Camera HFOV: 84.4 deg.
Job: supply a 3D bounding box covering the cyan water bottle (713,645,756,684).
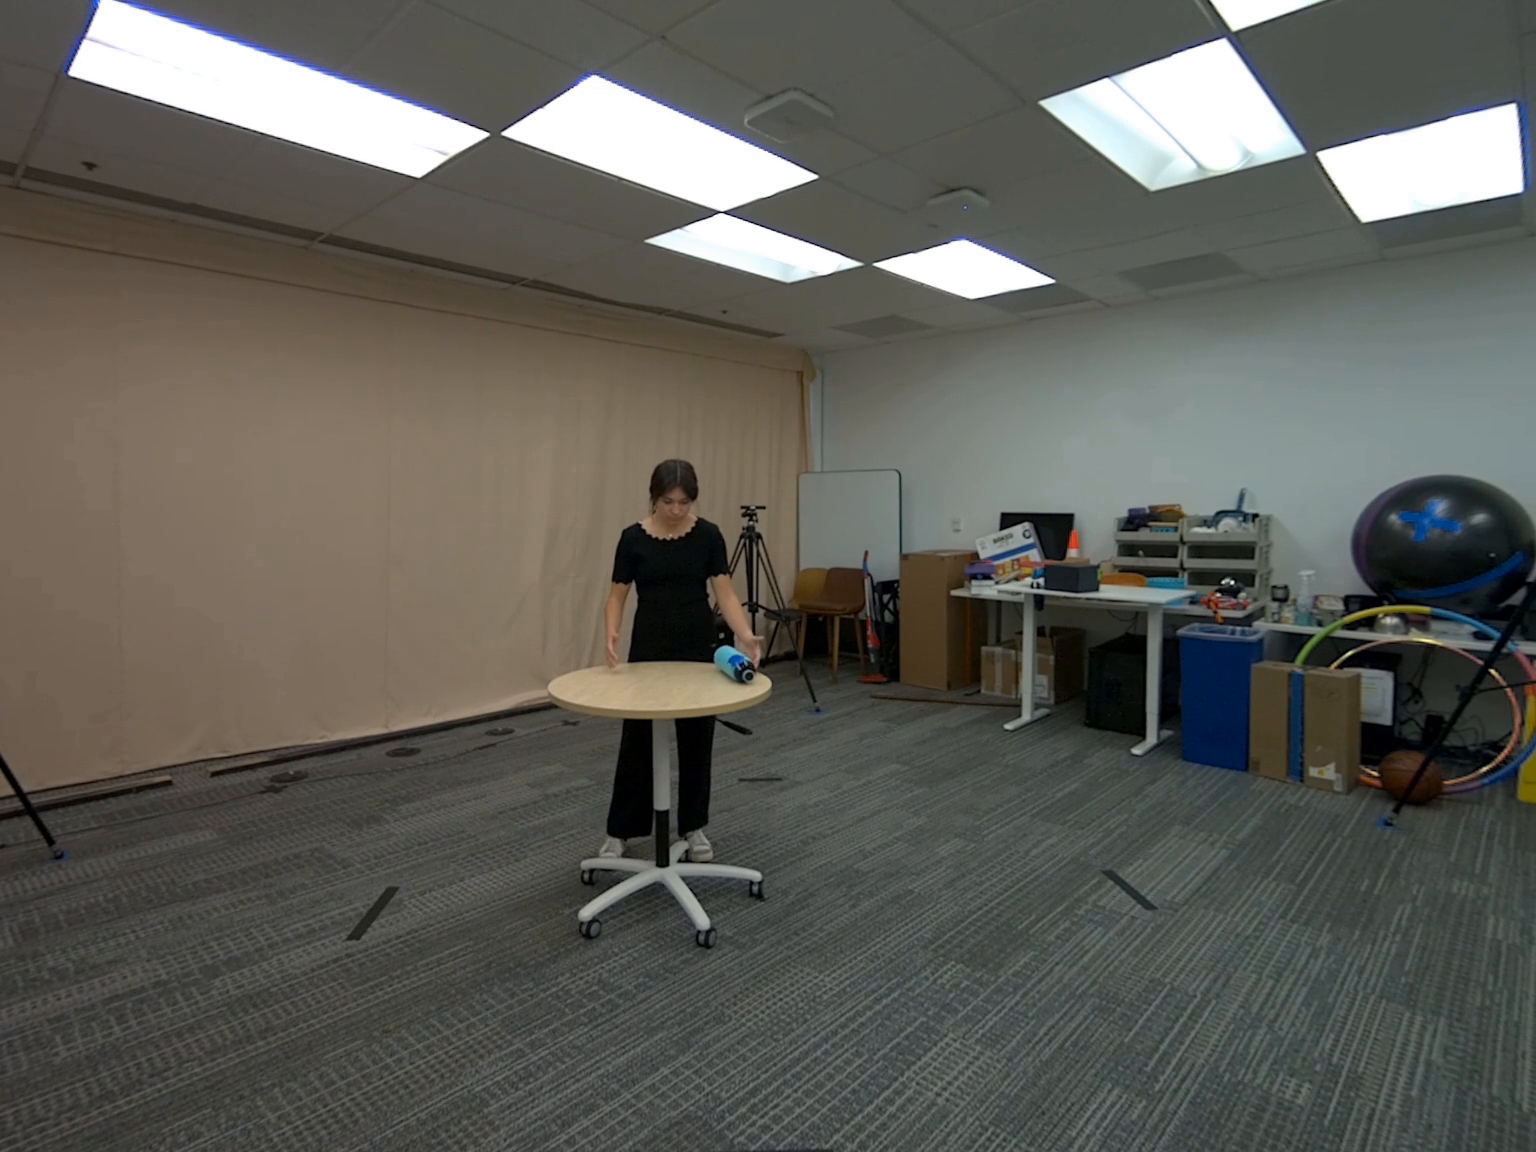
[{"bbox_3d":[-0.115,0.315,2.983,0.091,0.092,0.289,-1,7,-17],"label":"cyan water bottle"}]
